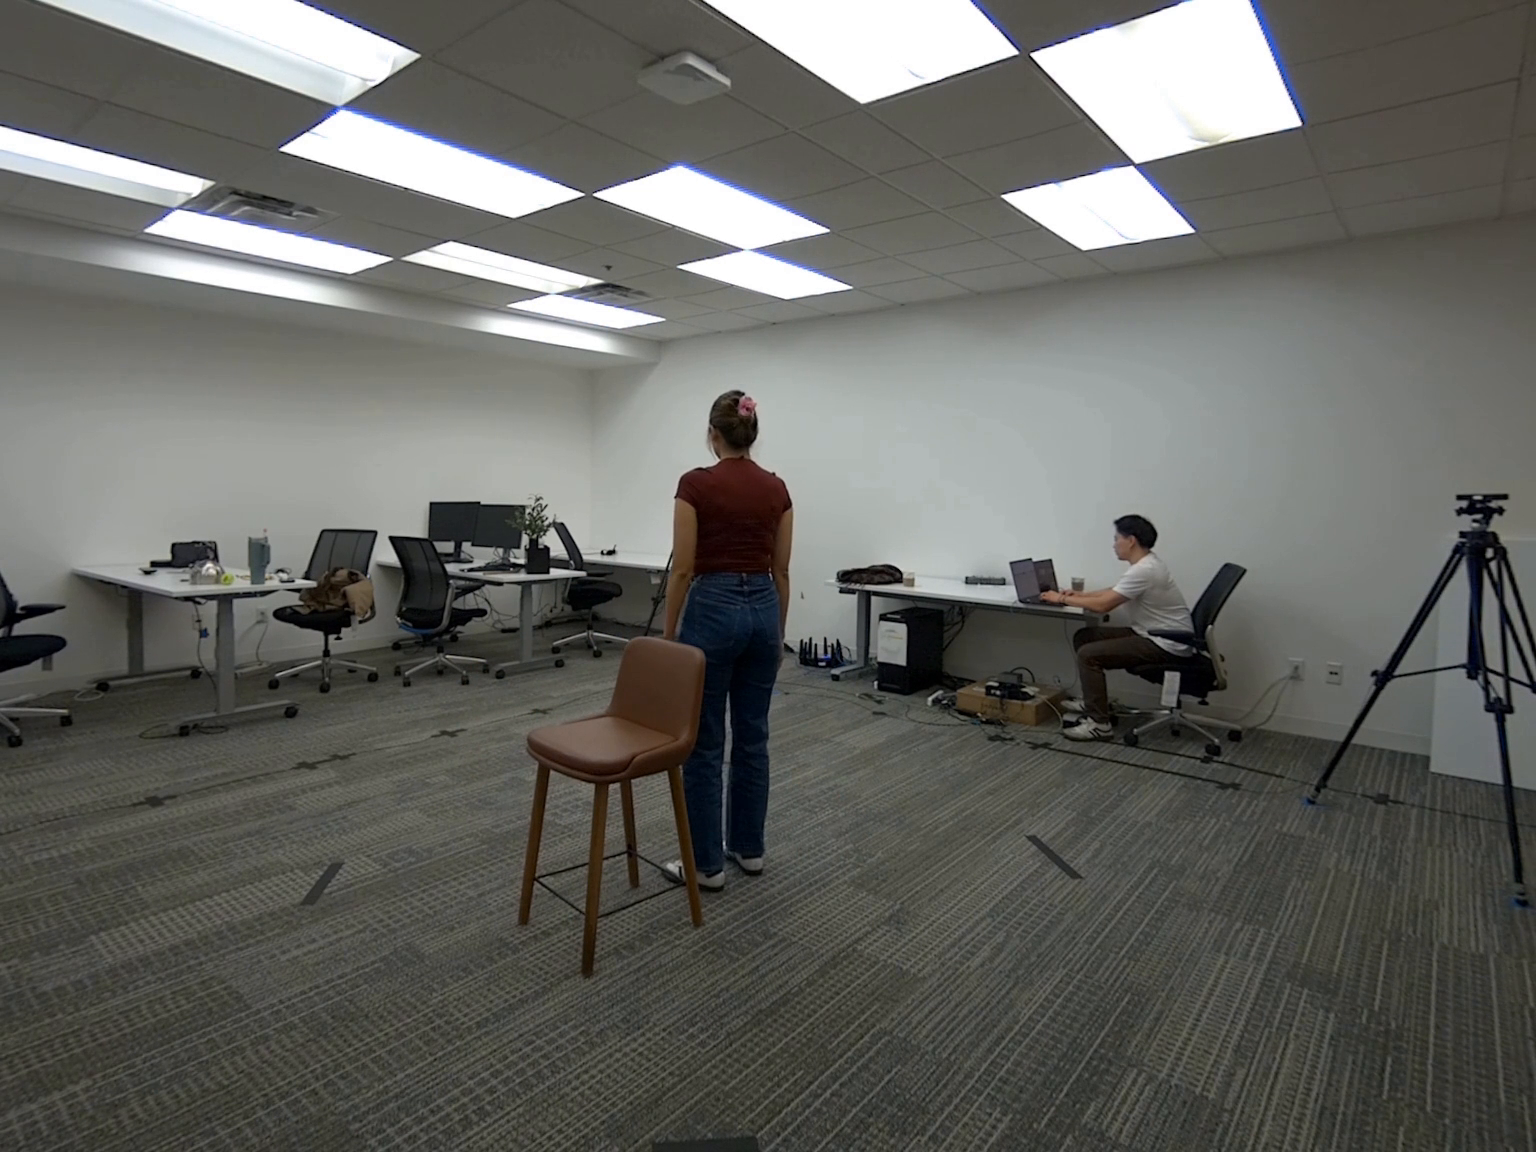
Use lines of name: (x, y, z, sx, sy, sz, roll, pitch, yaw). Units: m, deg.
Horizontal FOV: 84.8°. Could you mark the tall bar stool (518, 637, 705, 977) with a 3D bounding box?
tall bar stool: (-0.492, 0.670, 2.677, 0.453, 0.889, 0.472, 1, 2, -42)
